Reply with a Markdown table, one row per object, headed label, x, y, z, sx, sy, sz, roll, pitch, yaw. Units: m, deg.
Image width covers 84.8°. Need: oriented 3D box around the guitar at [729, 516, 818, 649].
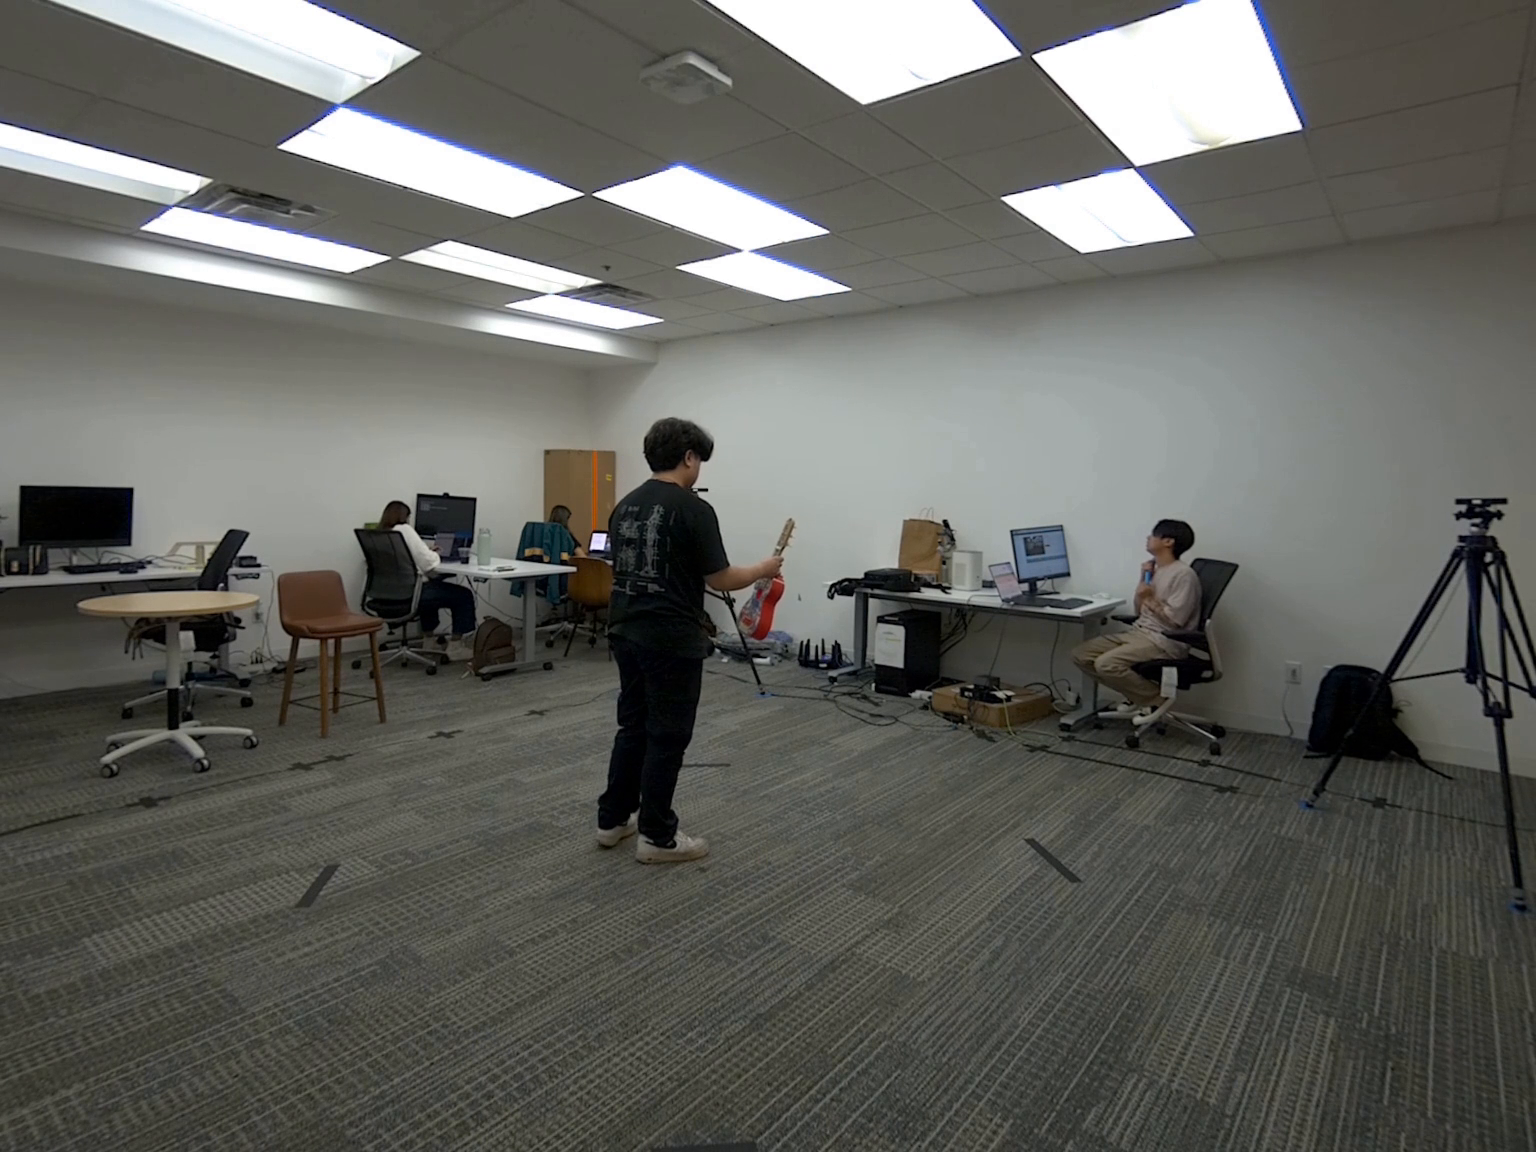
| label | x | y | z | sx | sy | sz | roll | pitch | yaw |
| --- | --- | --- | --- | --- | --- | --- | --- | --- | --- |
| guitar | 0.014 | 0.022 | 3.364 | 0.068 | 0.496 | 0.200 | 23 | 10 | -26 |
